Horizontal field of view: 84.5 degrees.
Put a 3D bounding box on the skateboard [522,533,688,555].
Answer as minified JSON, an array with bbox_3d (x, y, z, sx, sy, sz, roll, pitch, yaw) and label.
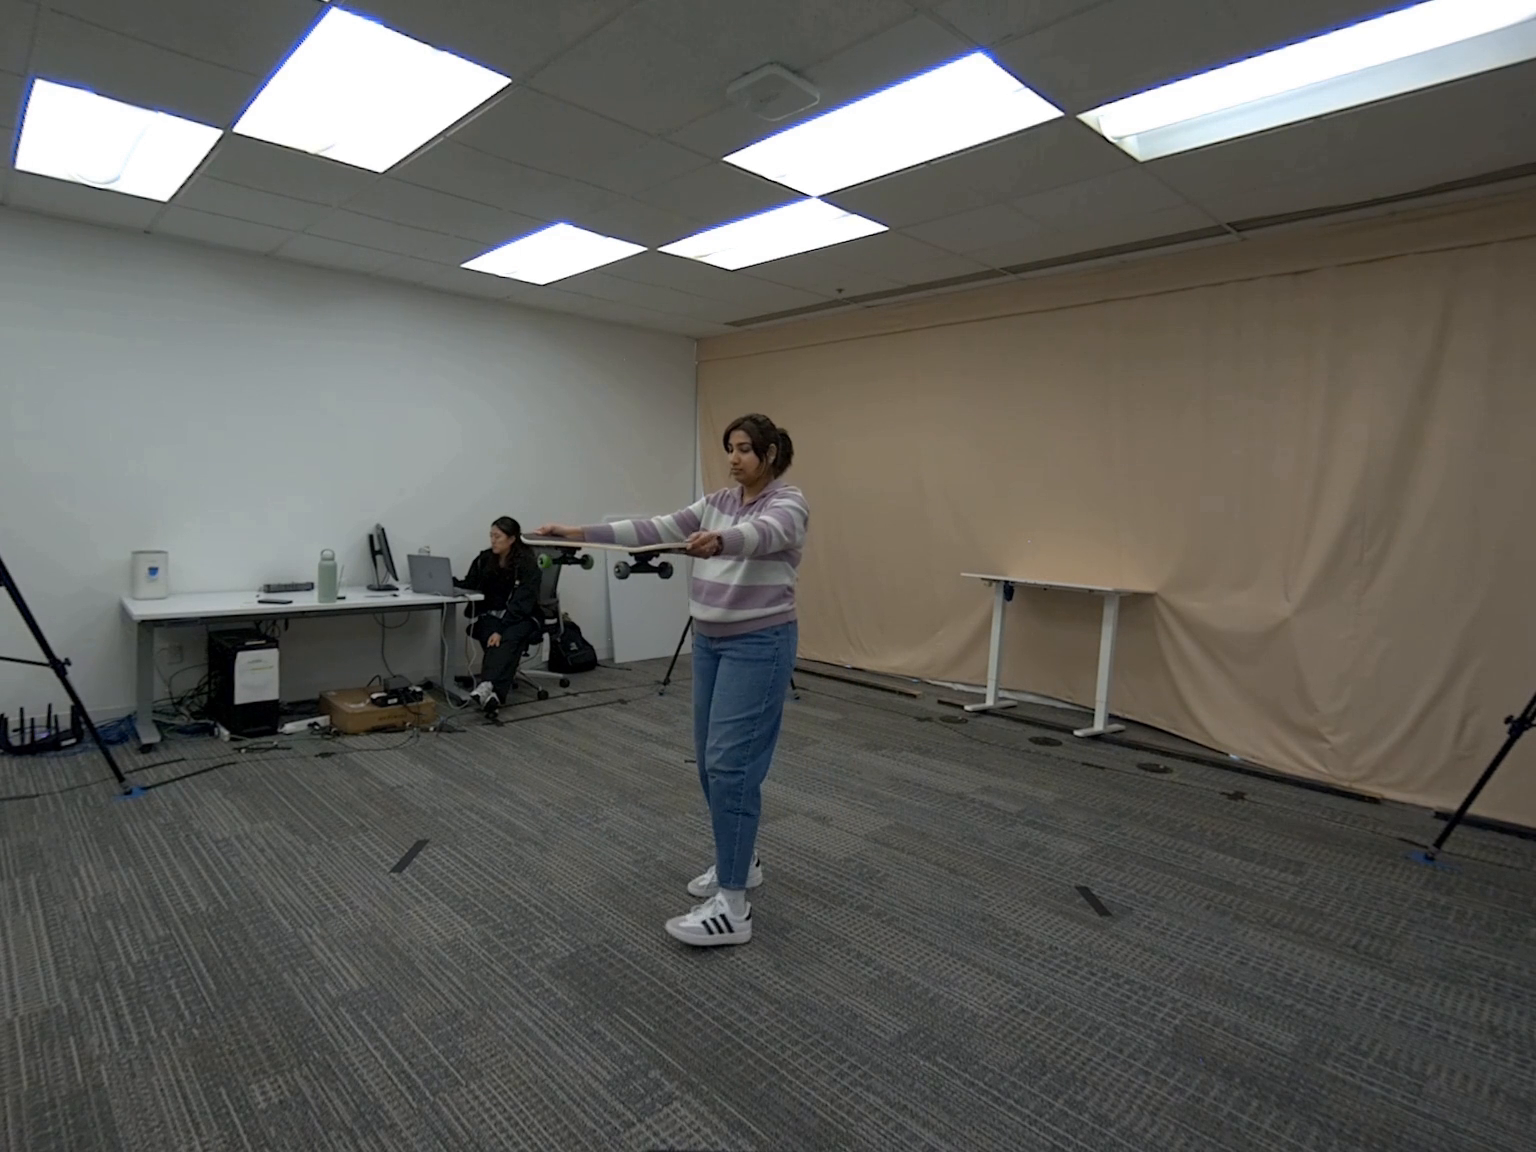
[{"bbox_3d":[-0.482,-0.064,2.496,0.805,0.110,0.189,5,7,44],"label":"skateboard"}]
